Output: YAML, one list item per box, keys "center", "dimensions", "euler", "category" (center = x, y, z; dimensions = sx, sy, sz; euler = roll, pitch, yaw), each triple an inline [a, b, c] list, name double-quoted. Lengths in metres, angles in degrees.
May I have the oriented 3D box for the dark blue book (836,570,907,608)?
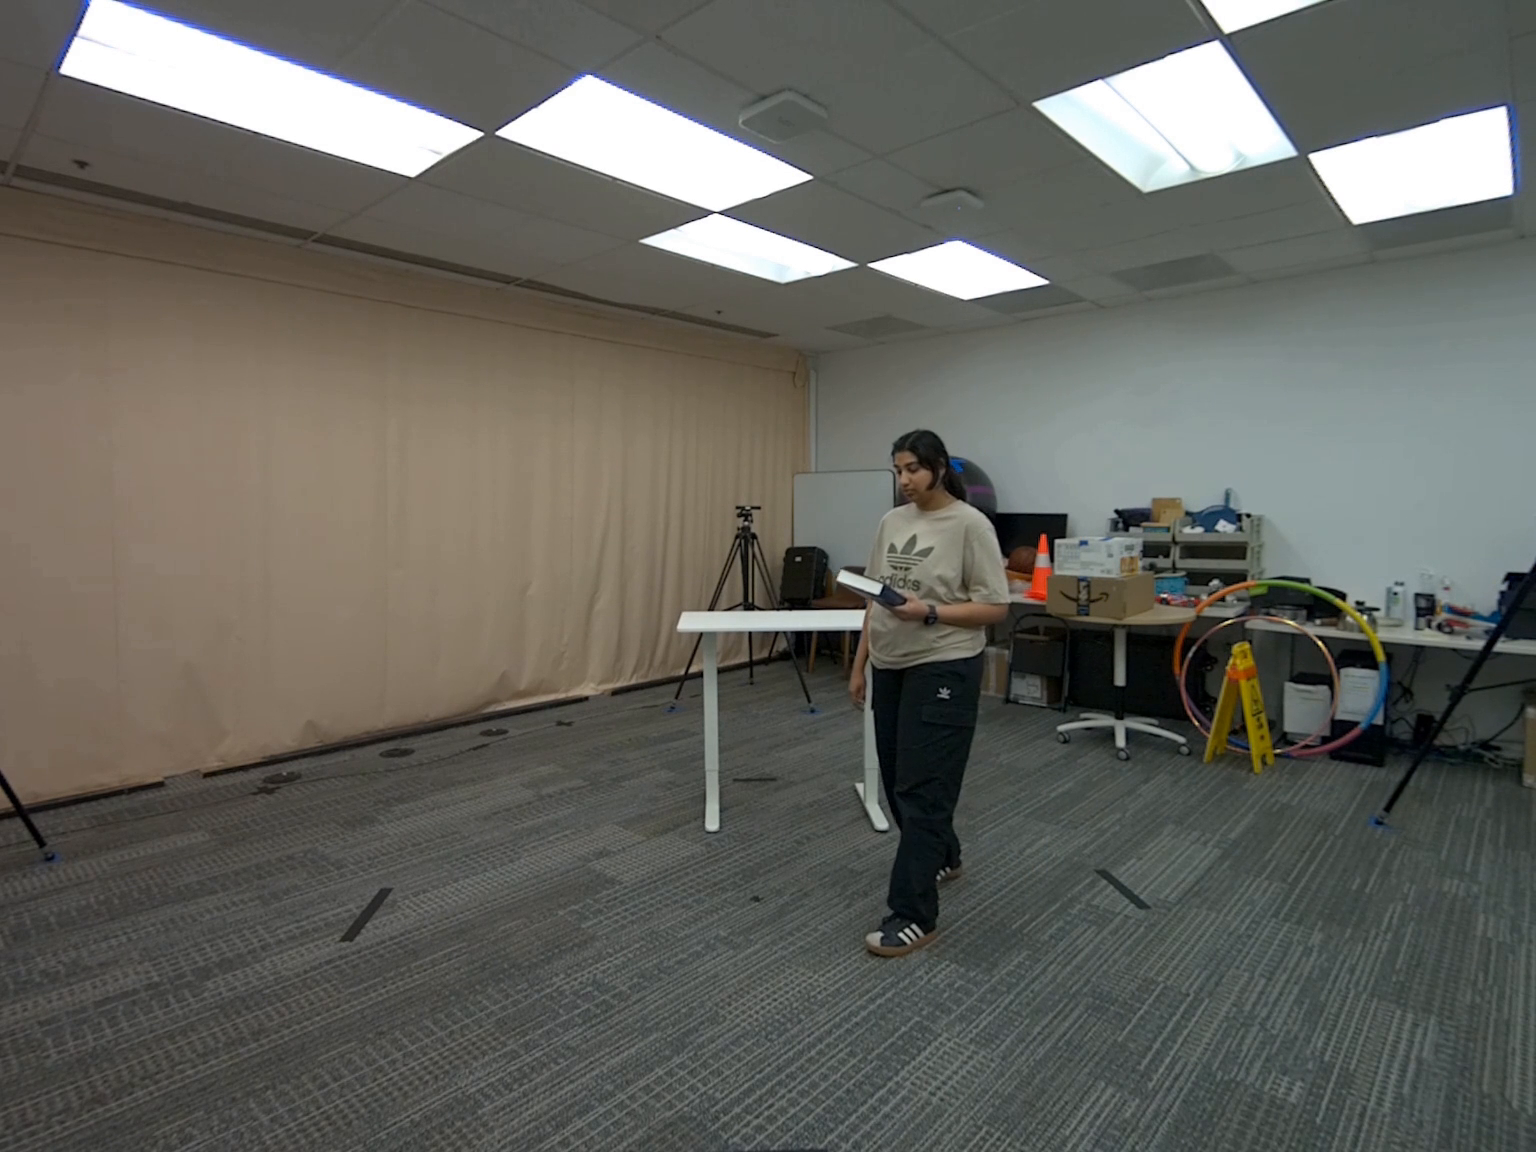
- center: [0.343, 0.047, 2.673]
  dimensions: [0.169, 0.045, 0.236]
  euler: [19, -4, 36]
  category: "dark blue book"
